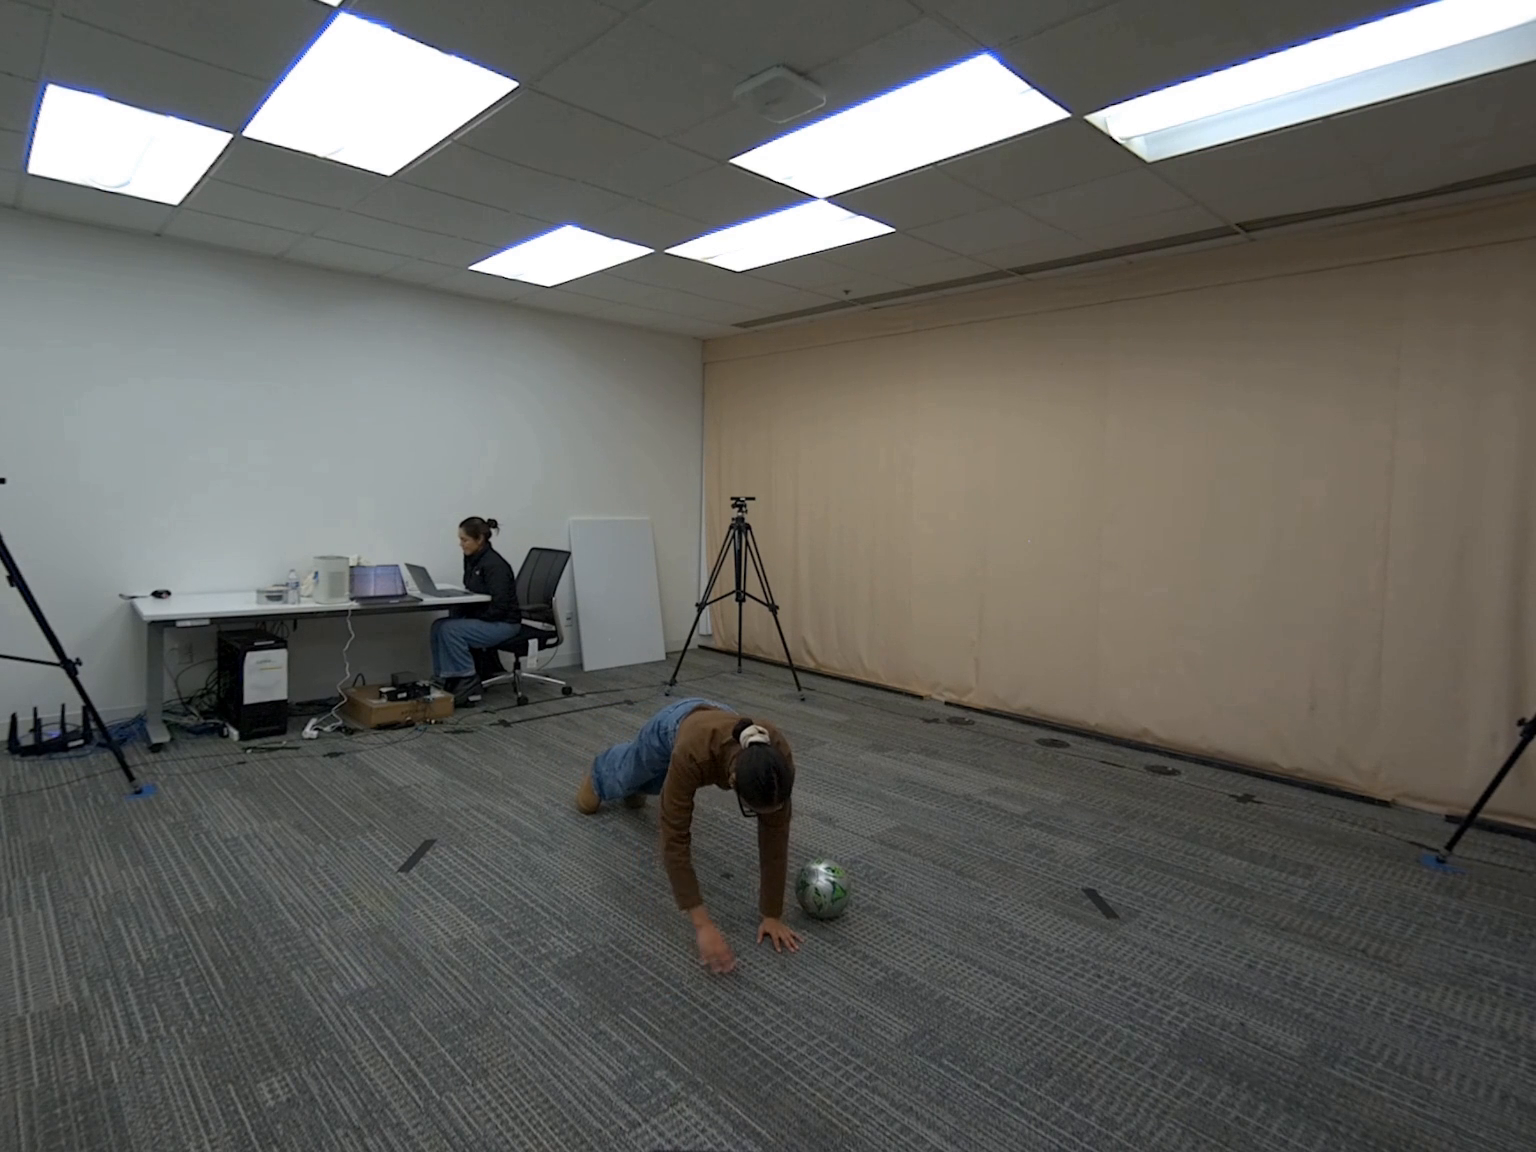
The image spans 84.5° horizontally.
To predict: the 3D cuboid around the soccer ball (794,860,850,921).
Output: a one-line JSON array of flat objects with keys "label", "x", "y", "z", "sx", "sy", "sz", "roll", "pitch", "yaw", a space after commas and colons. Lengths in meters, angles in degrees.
[{"label": "soccer ball", "x": 0.177, "y": 1.043, "z": 2.816, "sx": 0.187, "sy": 0.187, "sz": 0.188, "roll": 1, "pitch": 4, "yaw": -1}]
